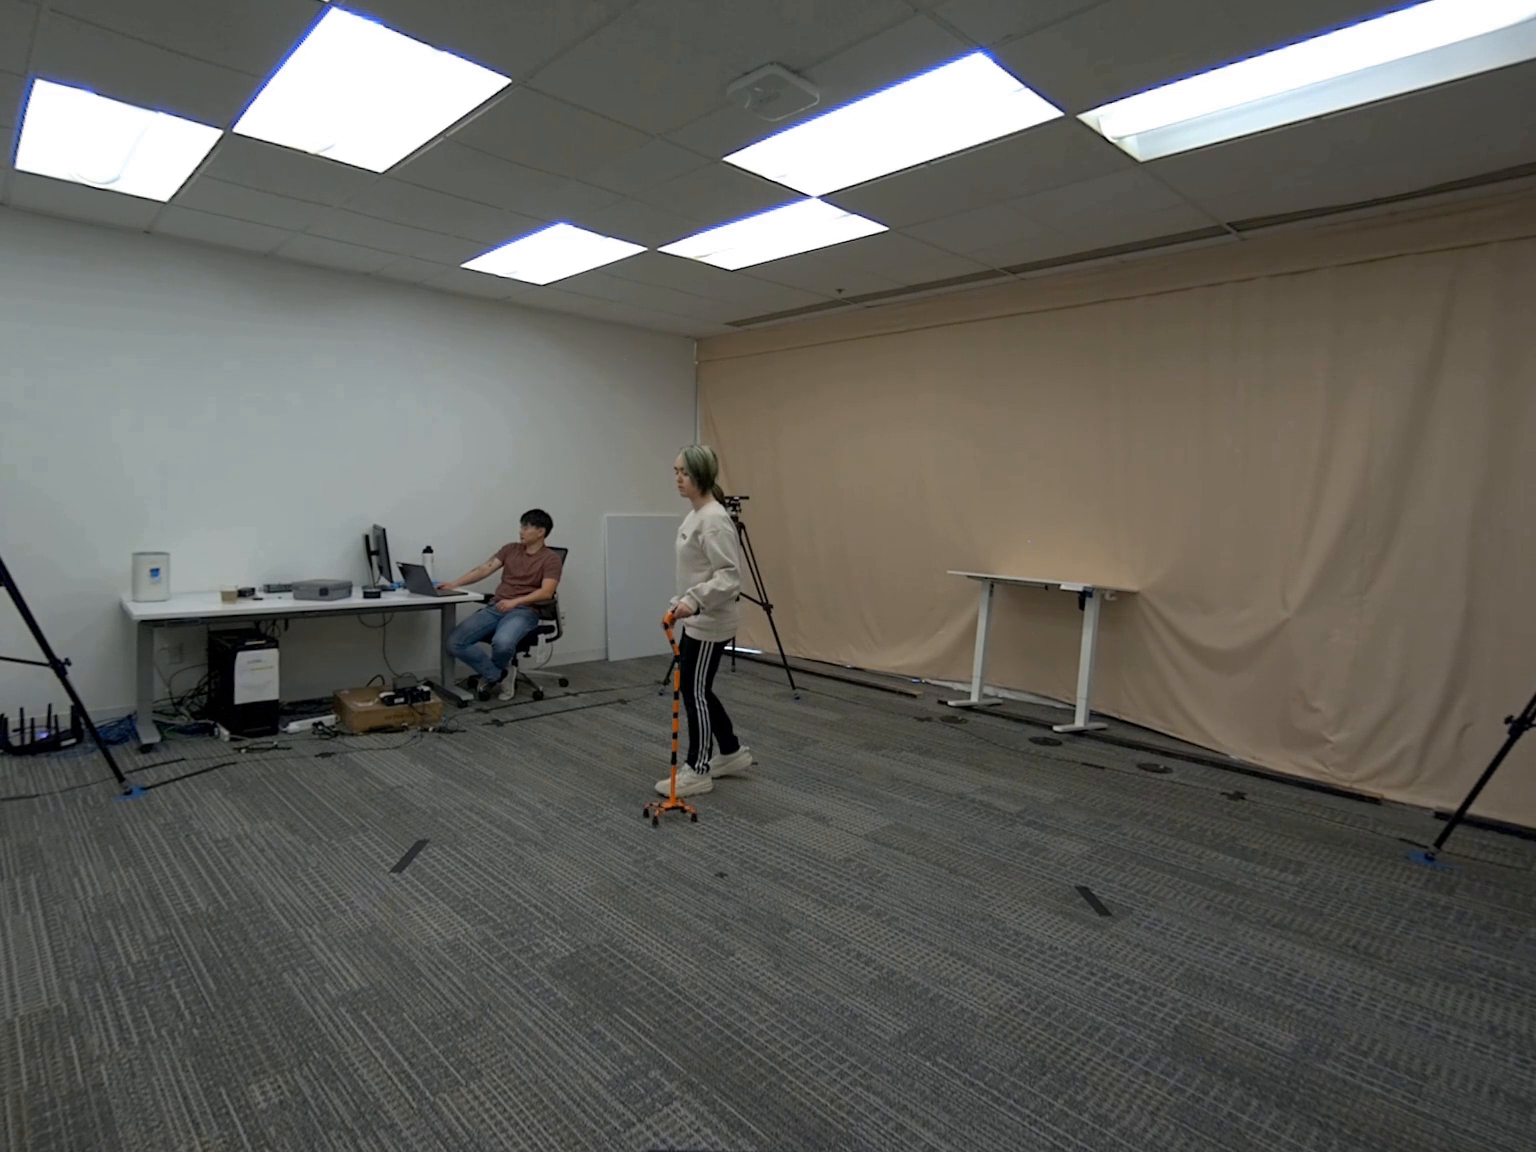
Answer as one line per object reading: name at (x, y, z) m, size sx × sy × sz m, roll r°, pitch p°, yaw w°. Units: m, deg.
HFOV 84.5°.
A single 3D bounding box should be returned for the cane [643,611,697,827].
cane at (-0.418, 0.591, 3.630) m, size 0.202 × 0.907 × 0.154 m, roll 2°, pitch 0°, yaw -27°
